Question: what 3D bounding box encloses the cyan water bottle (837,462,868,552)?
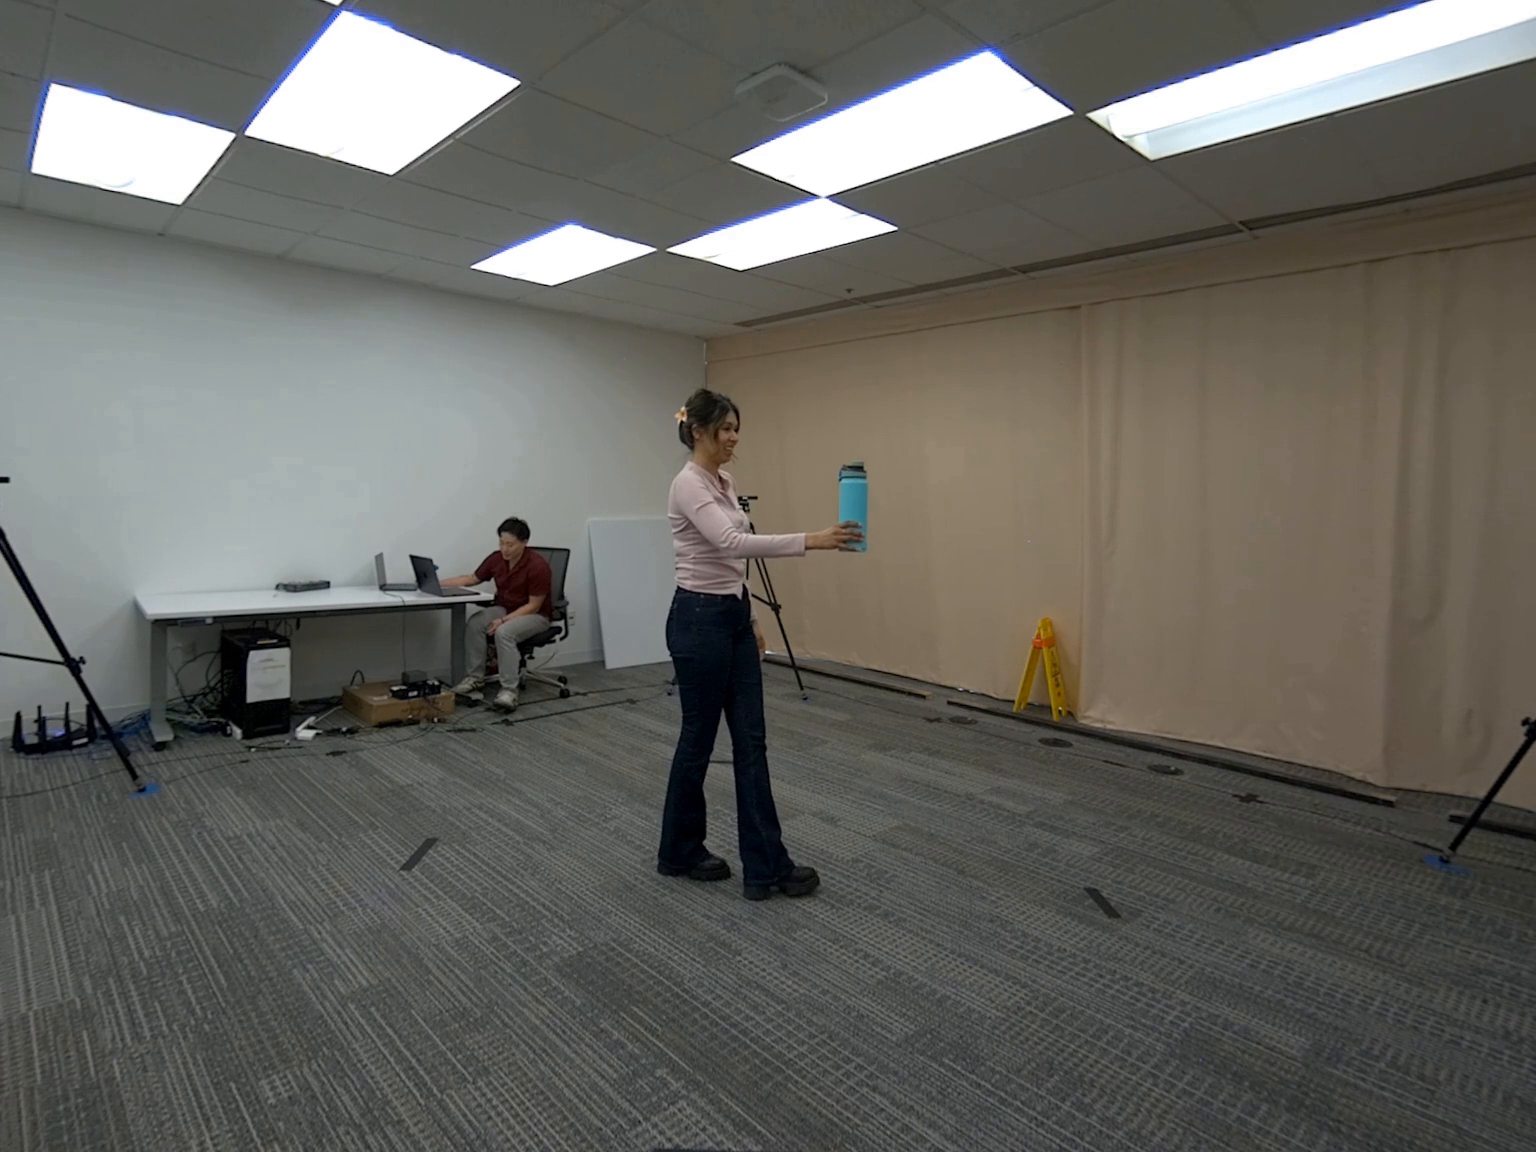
[{"bbox_3d":[0.266,-0.219,2.639,0.092,0.283,0.092,-1,0,-1],"label":"cyan water bottle"}]
